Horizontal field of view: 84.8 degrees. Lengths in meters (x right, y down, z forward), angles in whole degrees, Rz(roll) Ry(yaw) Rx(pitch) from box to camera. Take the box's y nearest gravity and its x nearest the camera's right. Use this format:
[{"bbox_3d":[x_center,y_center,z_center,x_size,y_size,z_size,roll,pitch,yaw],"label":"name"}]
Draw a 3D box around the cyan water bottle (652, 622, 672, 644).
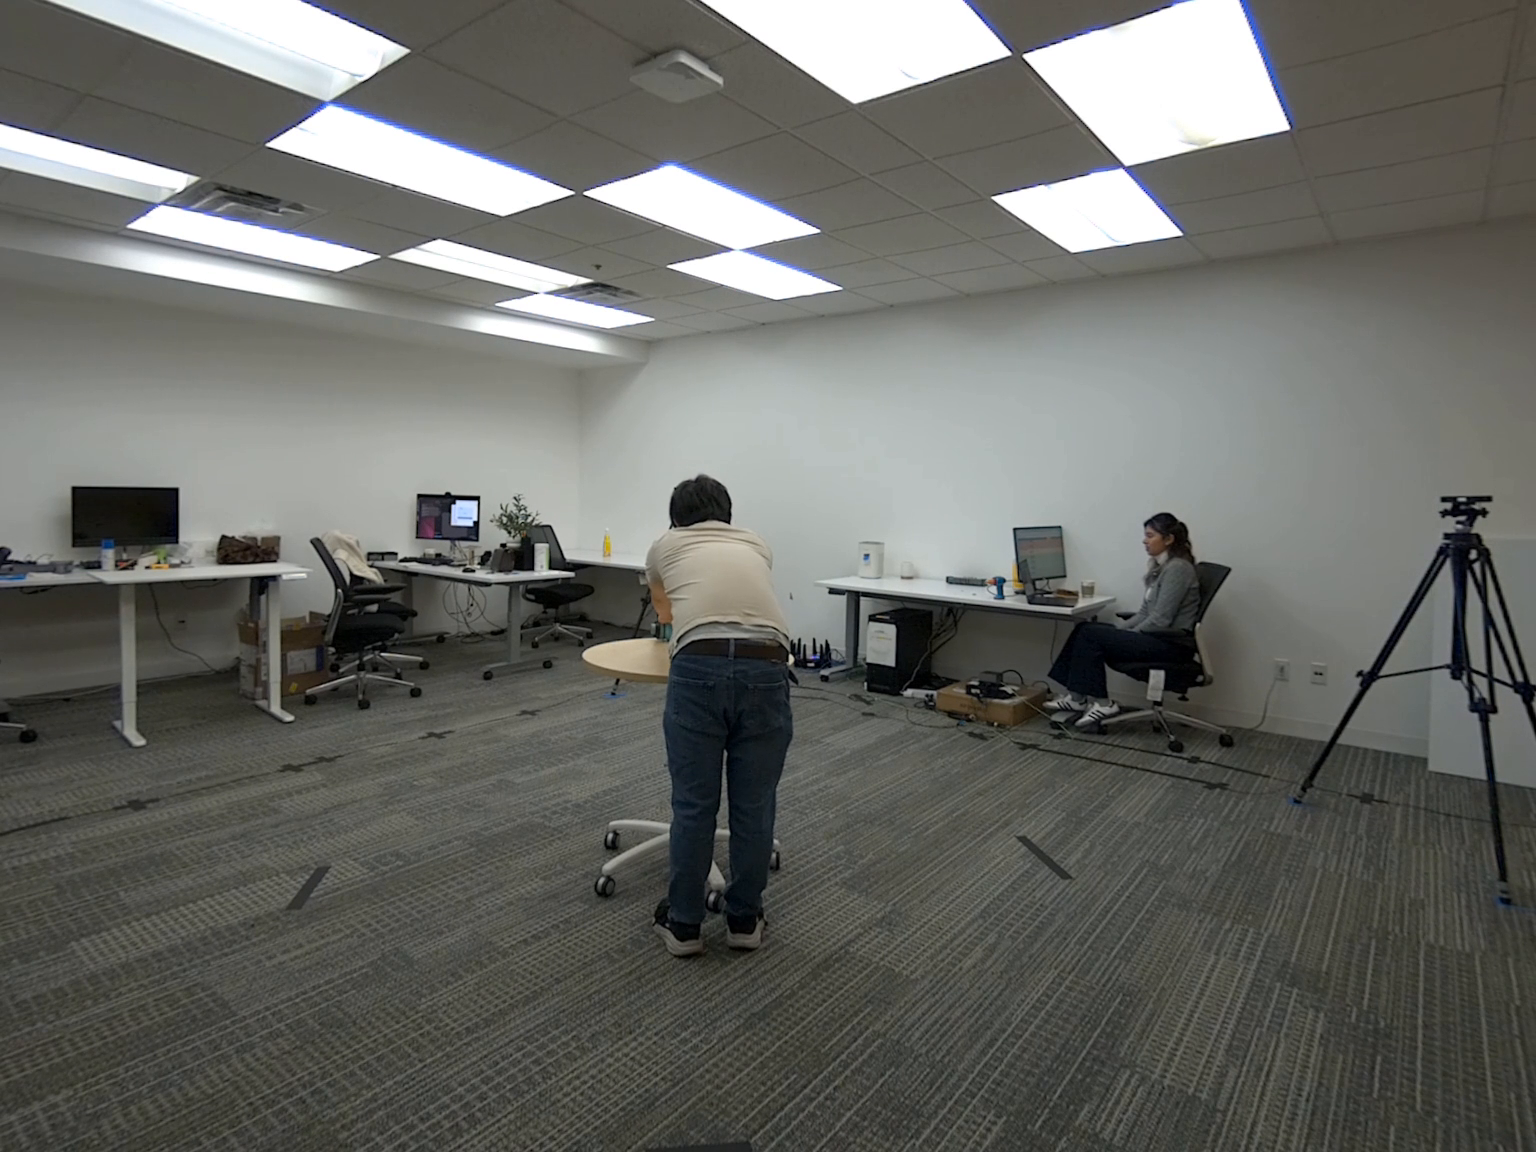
[{"bbox_3d":[-0.339,0.211,3.398,0.281,0.092,0.093,-1,4,-6],"label":"cyan water bottle"}]
